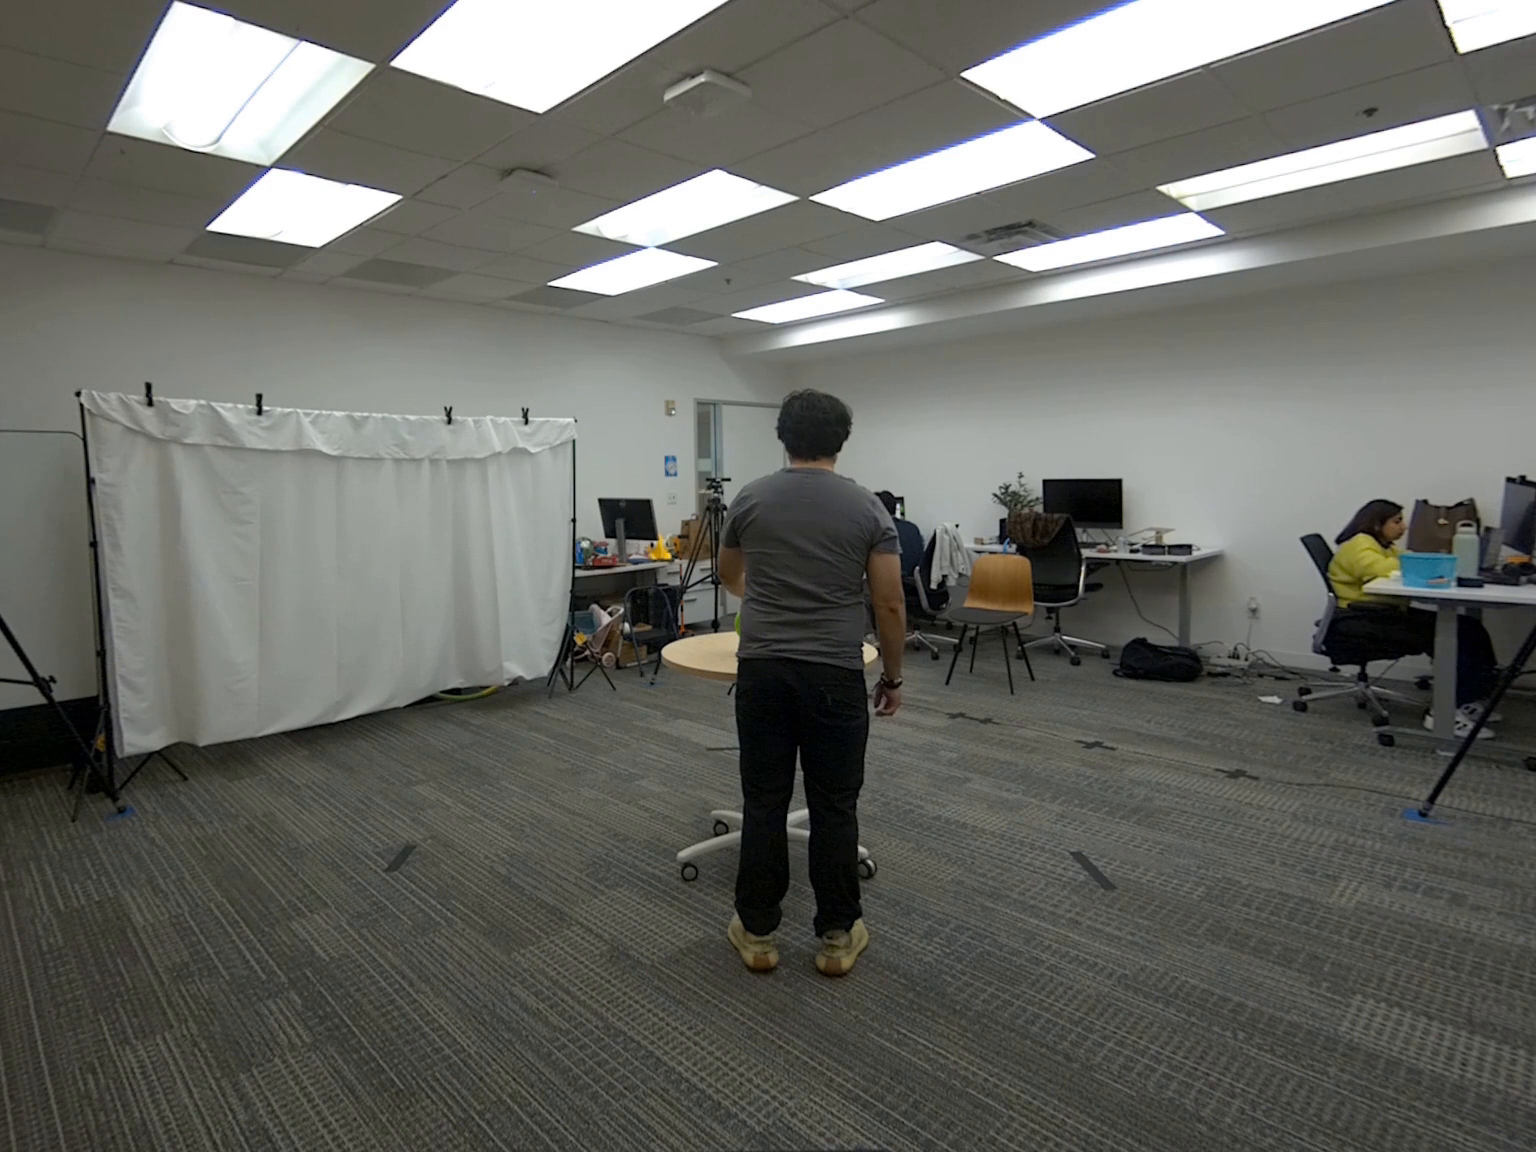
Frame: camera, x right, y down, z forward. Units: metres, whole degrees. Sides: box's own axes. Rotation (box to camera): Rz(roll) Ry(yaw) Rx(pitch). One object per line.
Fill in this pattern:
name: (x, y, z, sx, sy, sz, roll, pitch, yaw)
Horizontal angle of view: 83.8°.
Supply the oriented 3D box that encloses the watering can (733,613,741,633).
watering can: (0.021, 0.187, 2.983, 0.273, 0.176, 0.100, -3, 5, -21)
